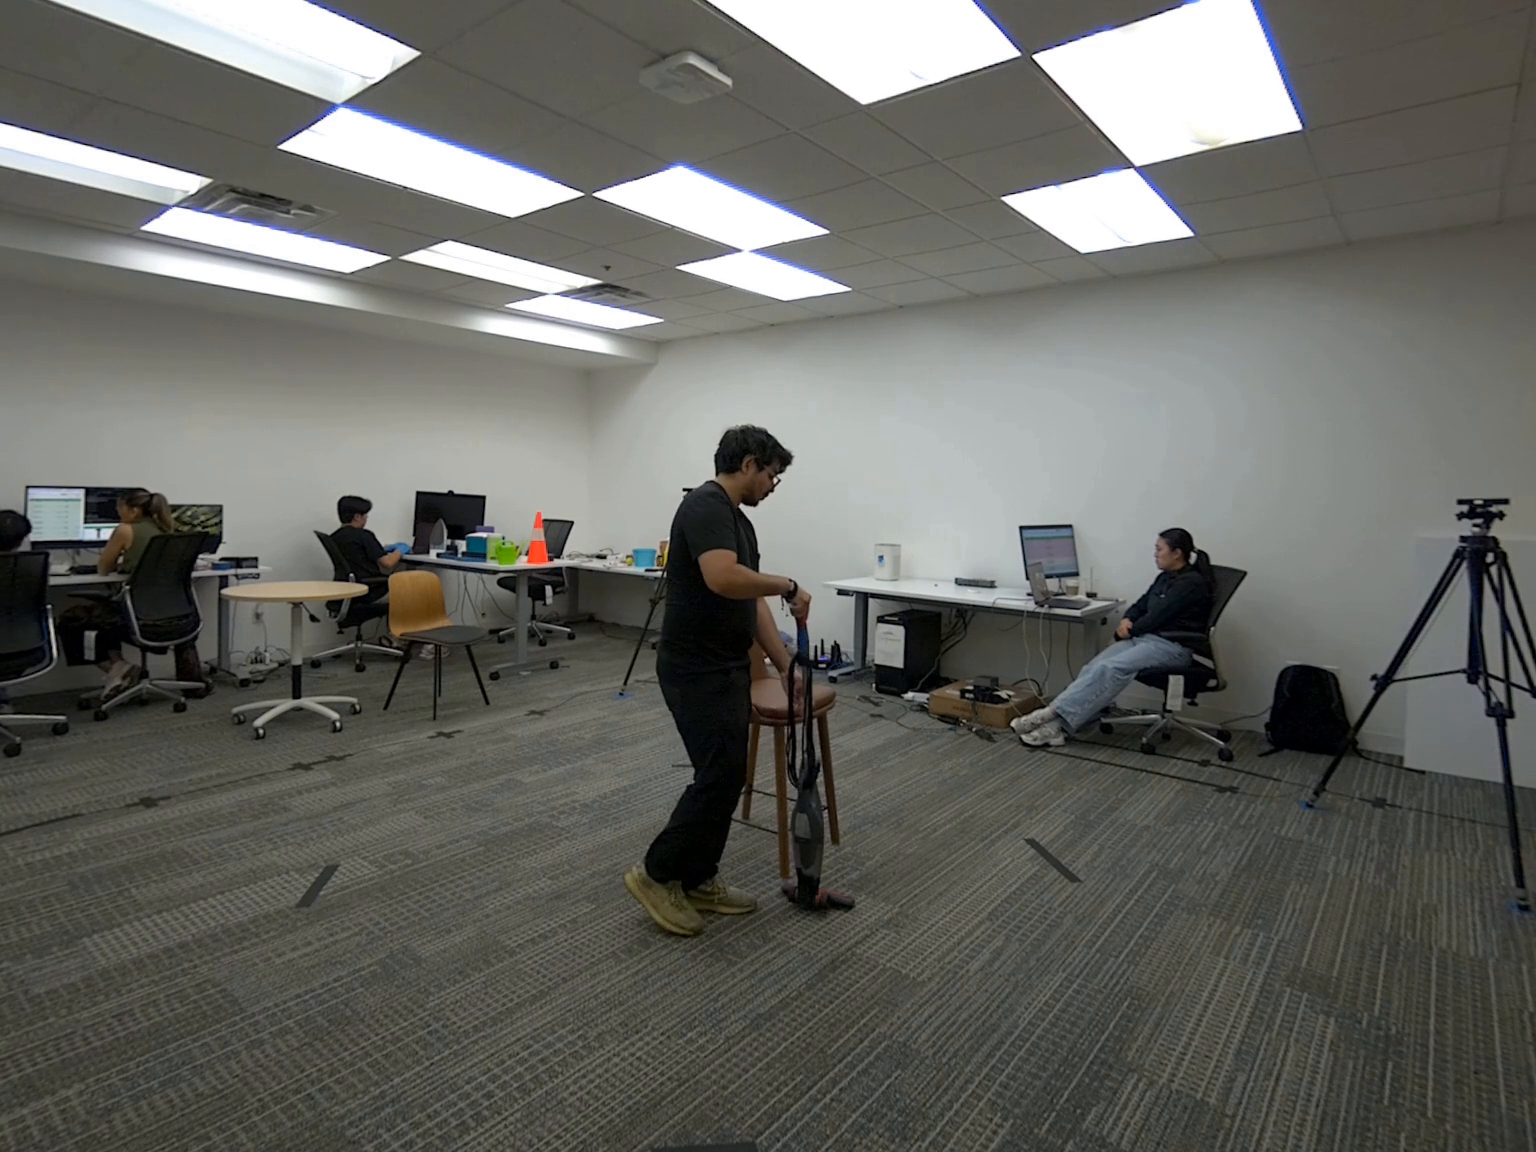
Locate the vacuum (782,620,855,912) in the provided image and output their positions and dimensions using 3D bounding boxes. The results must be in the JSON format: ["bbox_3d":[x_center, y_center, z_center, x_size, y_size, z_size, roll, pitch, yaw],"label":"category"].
[{"bbox_3d":[0.116,0.598,2.743,0.260,1.036,0.142,3,14,29],"label":"vacuum"}]
